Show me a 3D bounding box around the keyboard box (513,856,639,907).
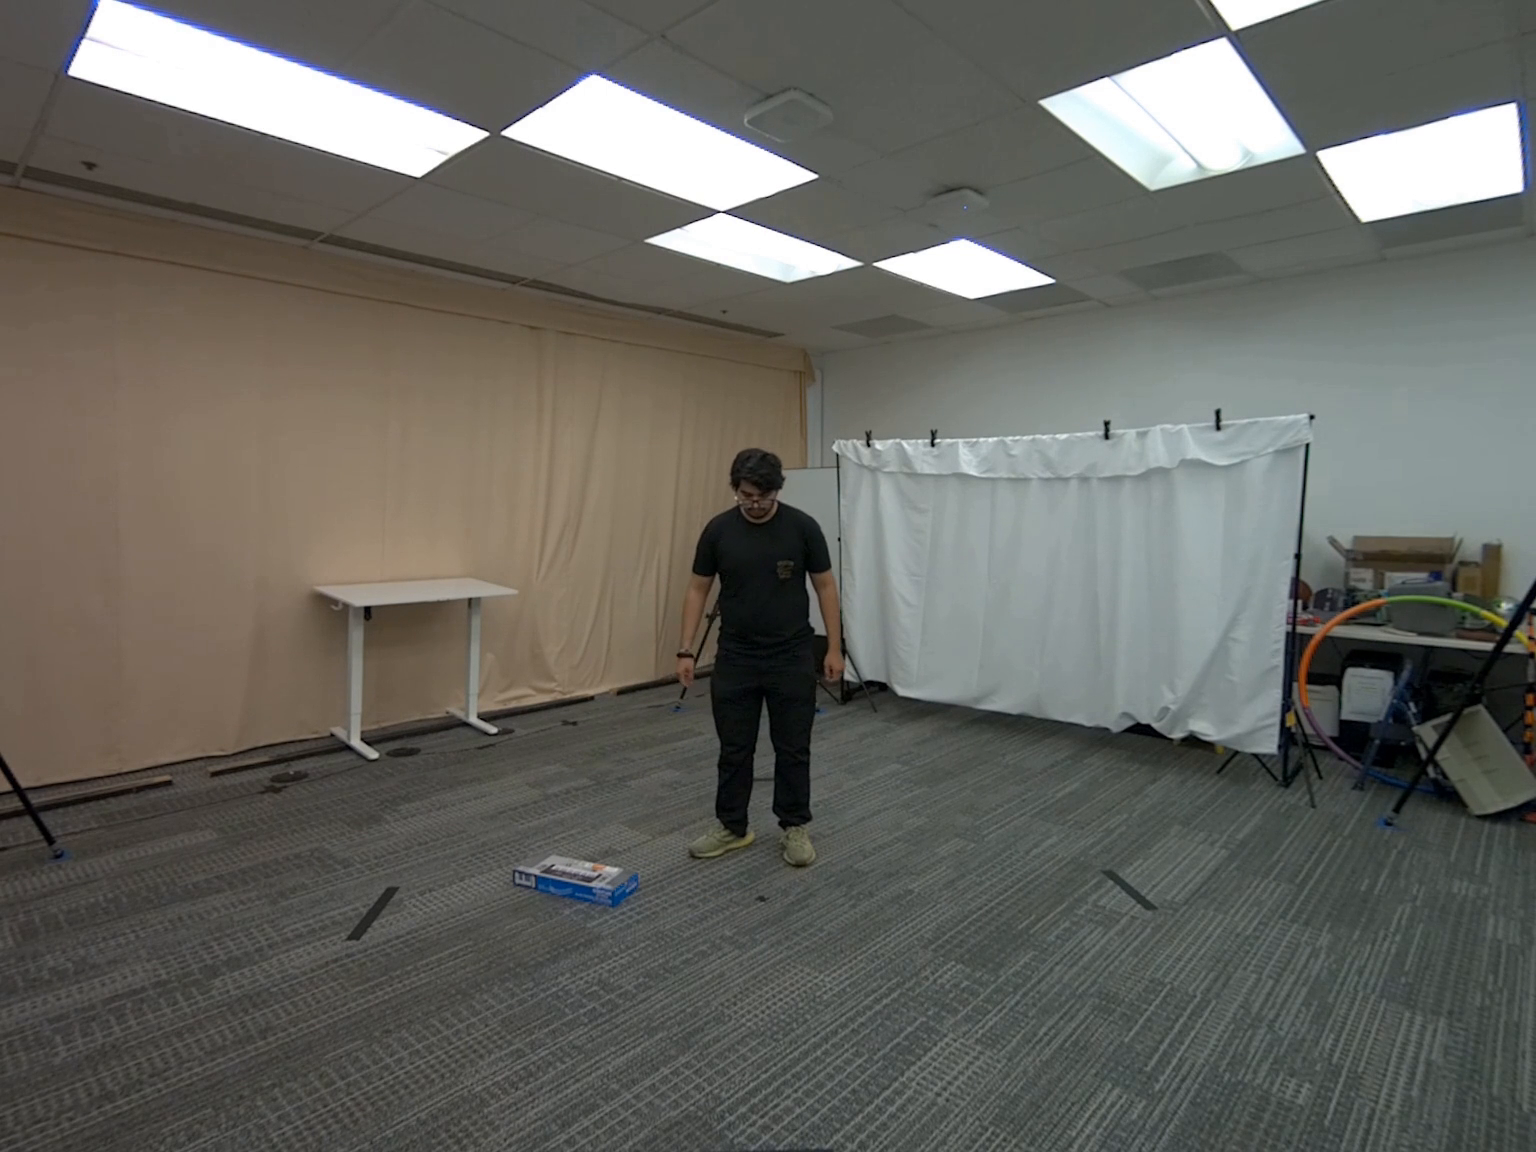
[{"bbox_3d":[-0.709,1.111,3.092,0.448,0.059,0.172,2,4,25],"label":"keyboard box"}]
